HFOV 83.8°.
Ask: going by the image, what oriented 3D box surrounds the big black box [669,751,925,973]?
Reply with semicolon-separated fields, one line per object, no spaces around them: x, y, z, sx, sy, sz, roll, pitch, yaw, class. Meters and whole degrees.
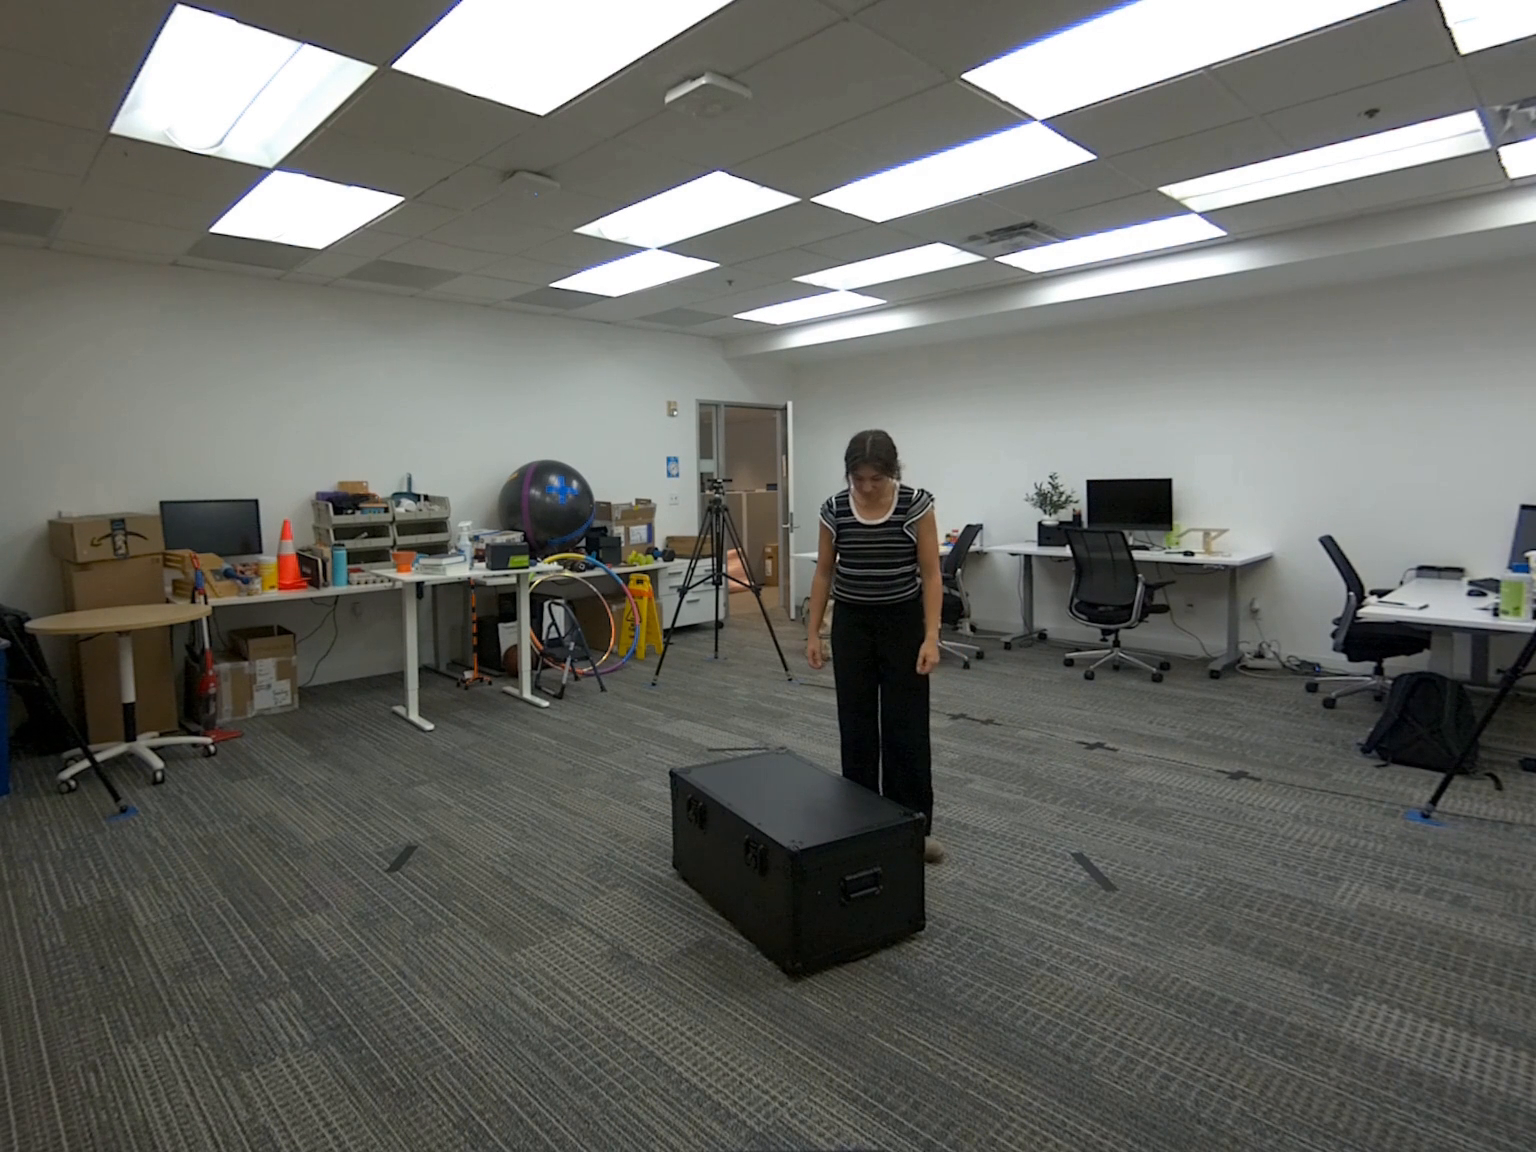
0.052;0.885;2.828;0.509;0.394;0.886;-4;7;-31;big black box
